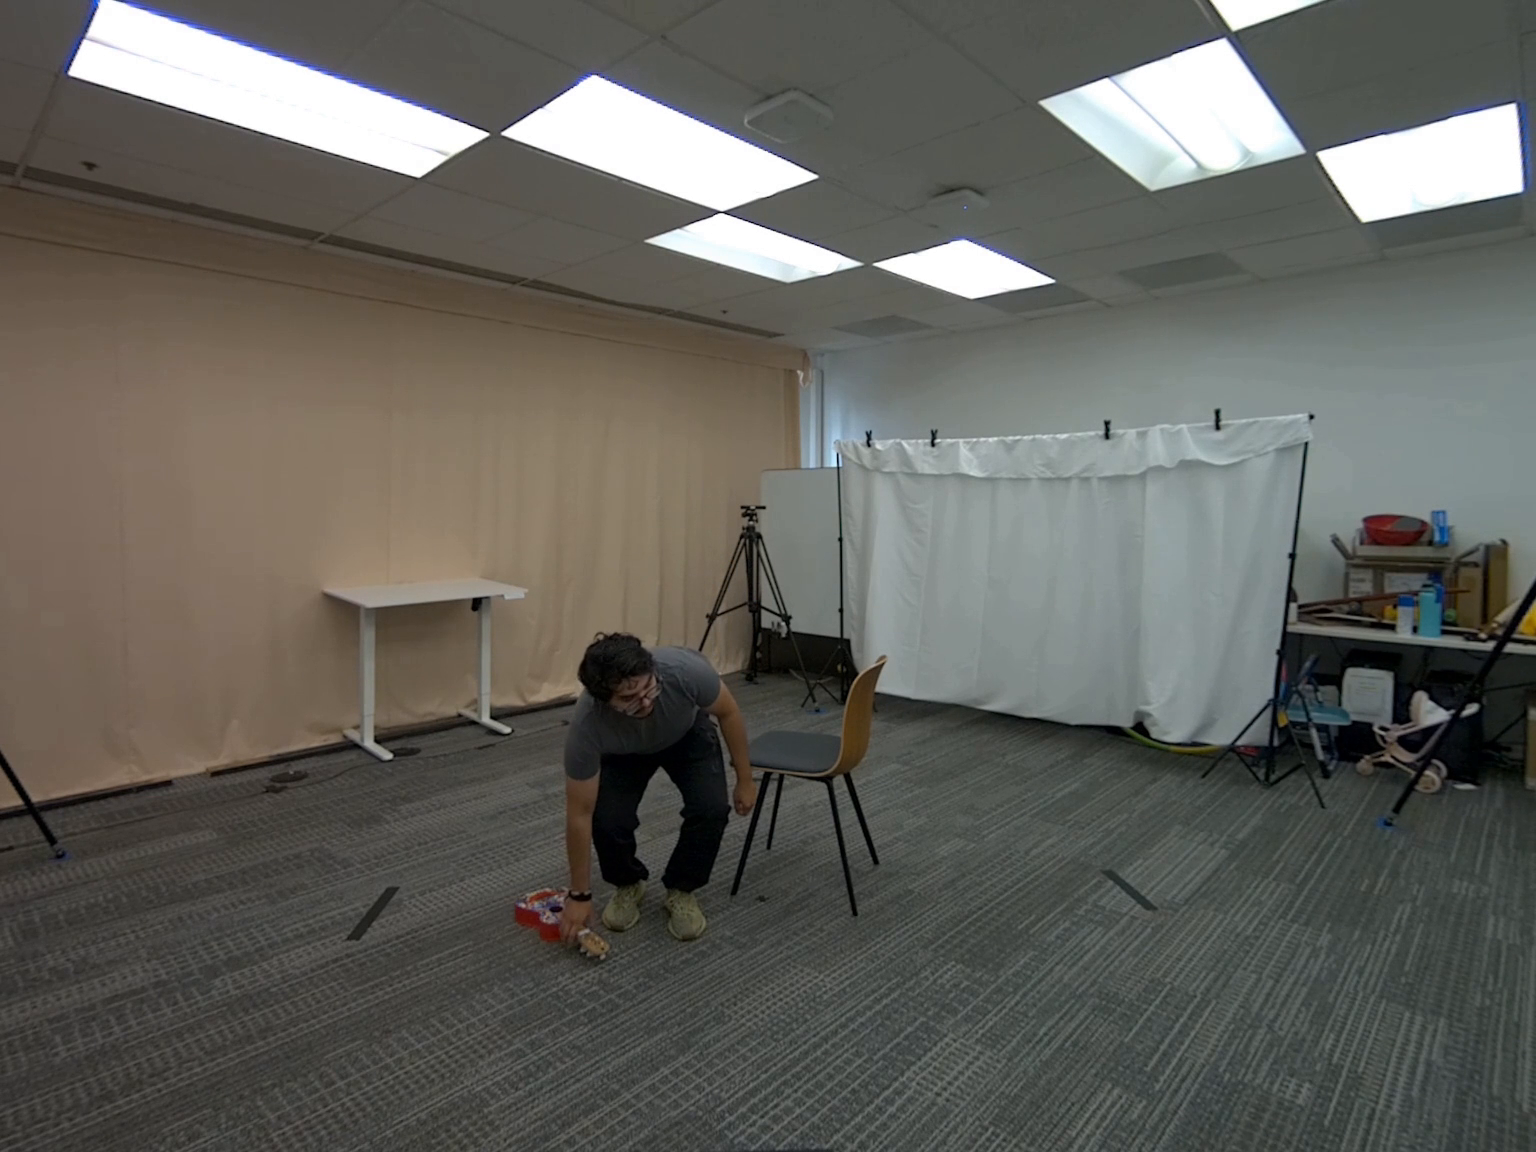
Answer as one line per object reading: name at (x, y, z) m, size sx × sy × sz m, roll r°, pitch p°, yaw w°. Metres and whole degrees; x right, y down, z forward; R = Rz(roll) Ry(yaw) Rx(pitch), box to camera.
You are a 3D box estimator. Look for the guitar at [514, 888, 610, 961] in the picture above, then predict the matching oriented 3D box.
guitar at (-0.676, 1.143, 2.720) m, size 0.188 × 0.070 × 0.512 m, roll -1°, pitch 4°, yaw -29°
